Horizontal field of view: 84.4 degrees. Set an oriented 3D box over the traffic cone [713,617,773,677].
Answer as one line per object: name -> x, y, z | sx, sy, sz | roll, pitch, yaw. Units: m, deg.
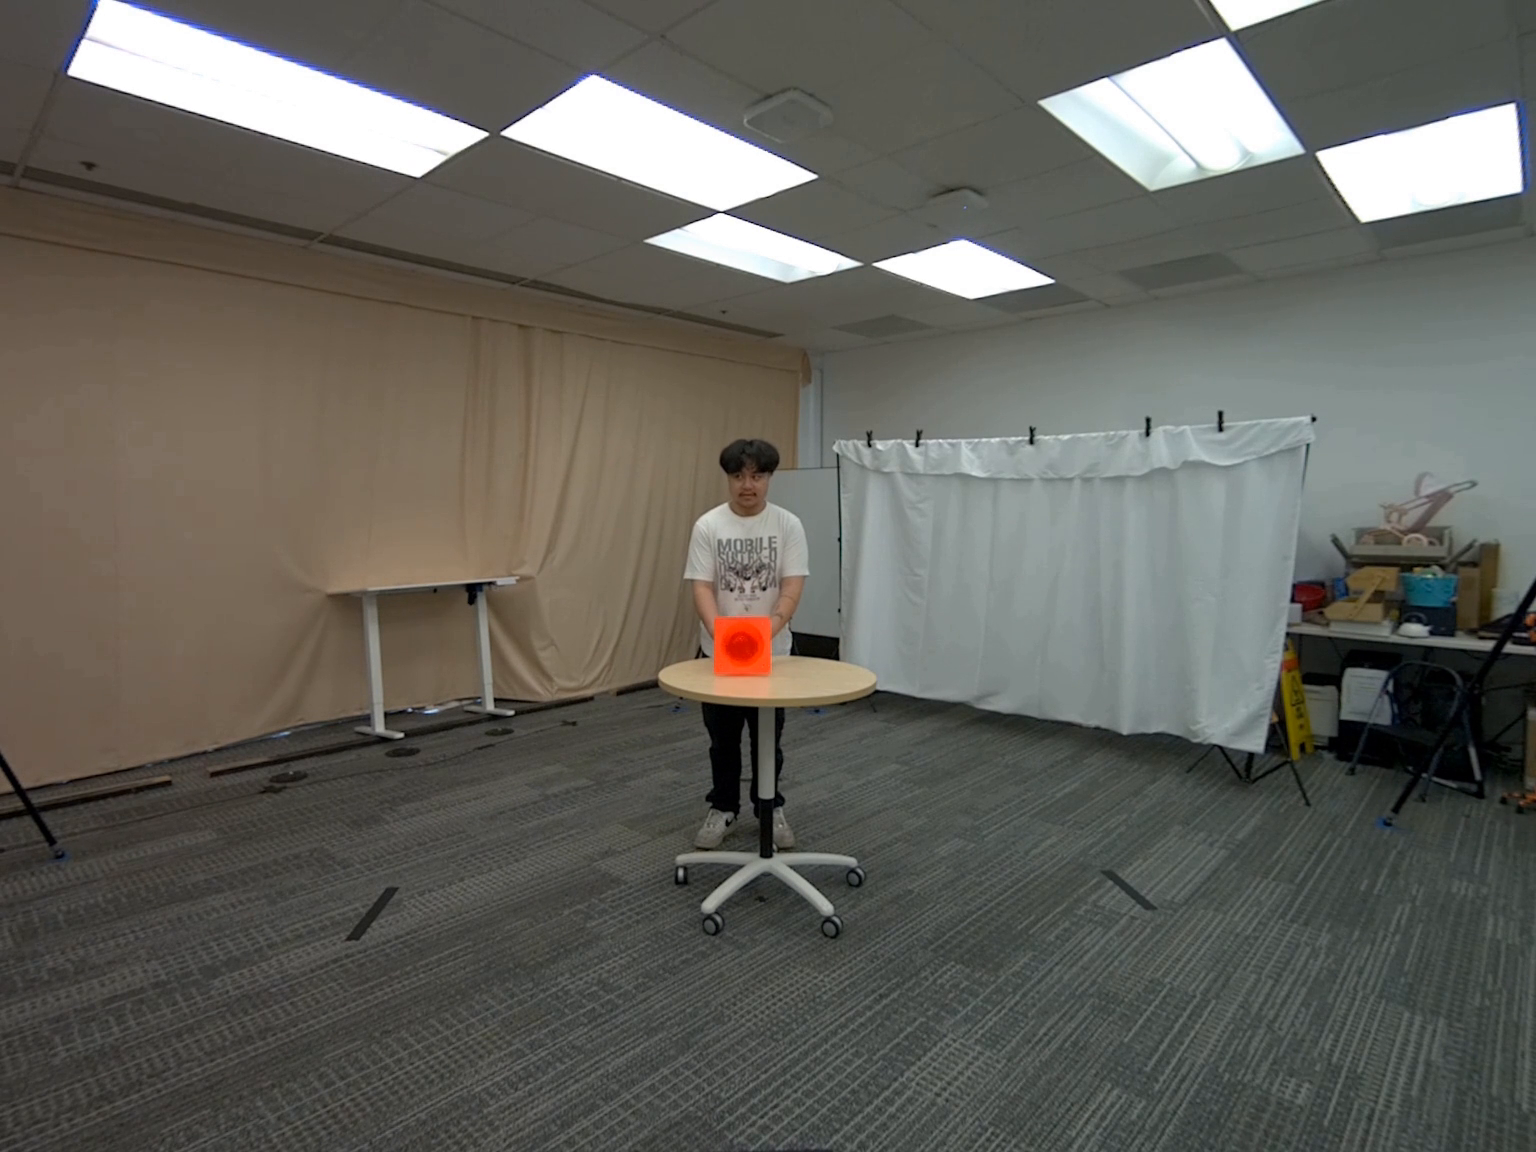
traffic cone -> -0.075, 0.253, 3.133 | 0.204, 0.204, 0.384 | -14, -1, -3
